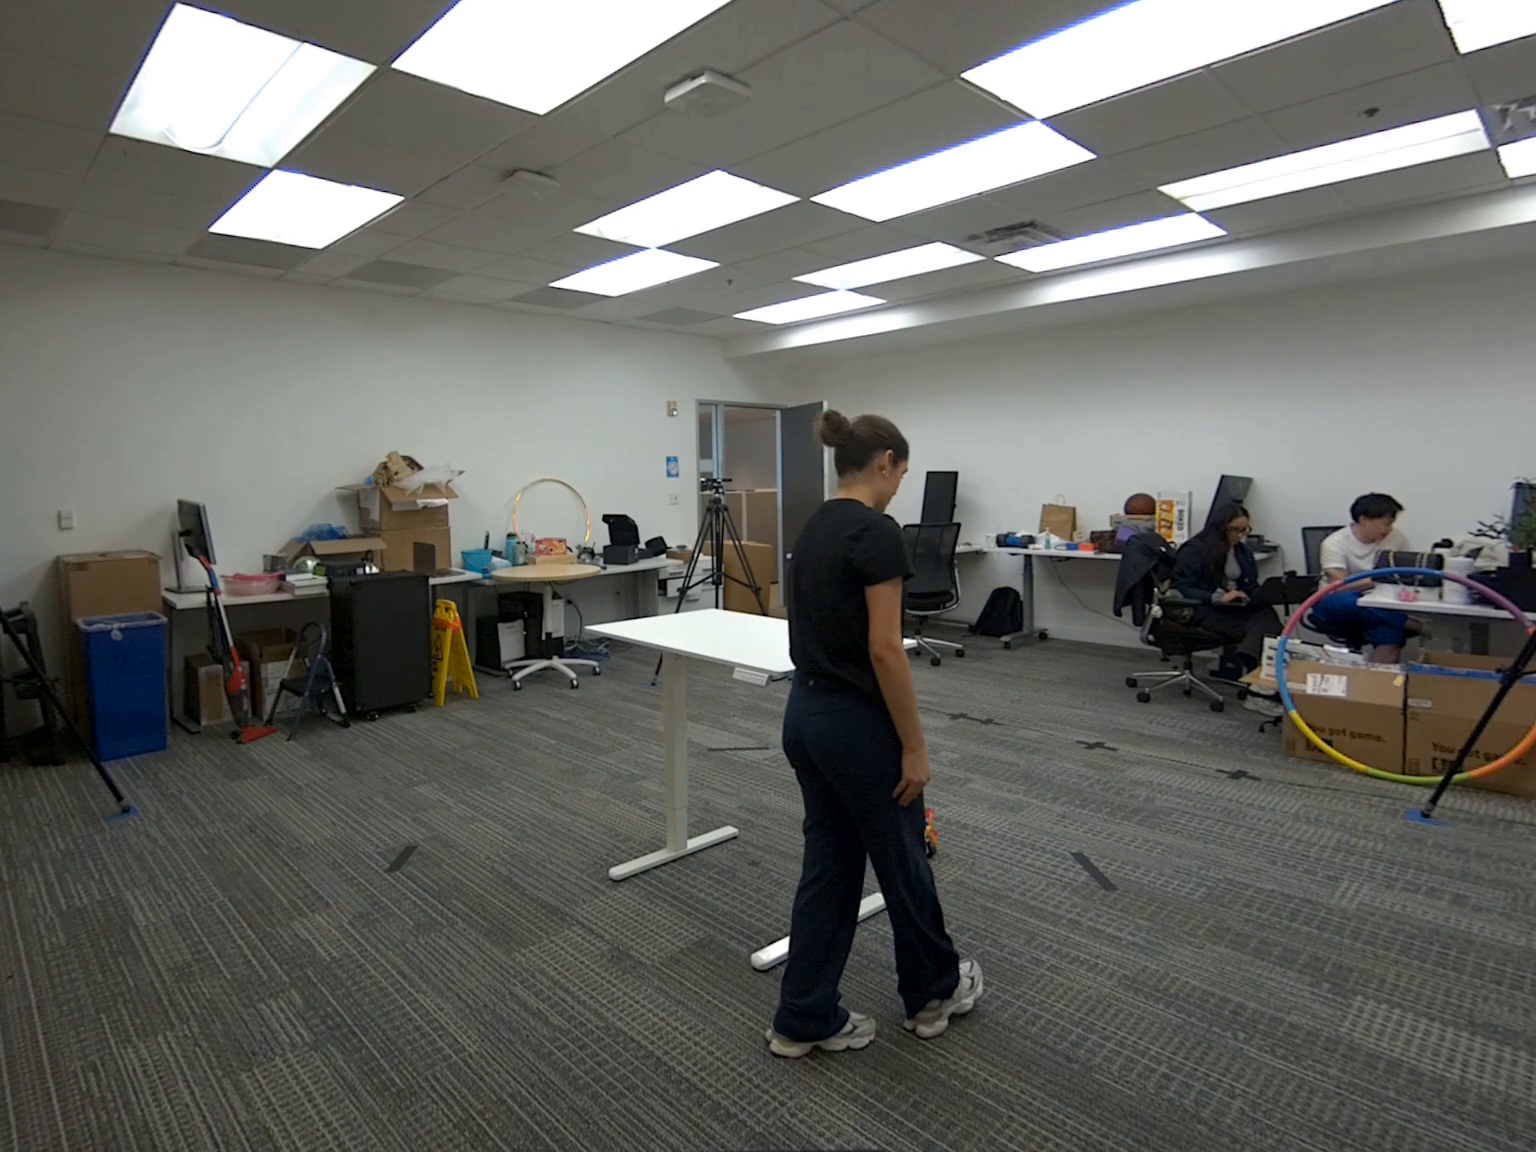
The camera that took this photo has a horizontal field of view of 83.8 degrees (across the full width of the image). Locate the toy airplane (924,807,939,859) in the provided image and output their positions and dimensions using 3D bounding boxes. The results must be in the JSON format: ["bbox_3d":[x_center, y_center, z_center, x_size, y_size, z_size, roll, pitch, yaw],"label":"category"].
[{"bbox_3d":[0.491,0.953,3.163,0.264,0.156,0.248,2,6,18],"label":"toy airplane"}]
